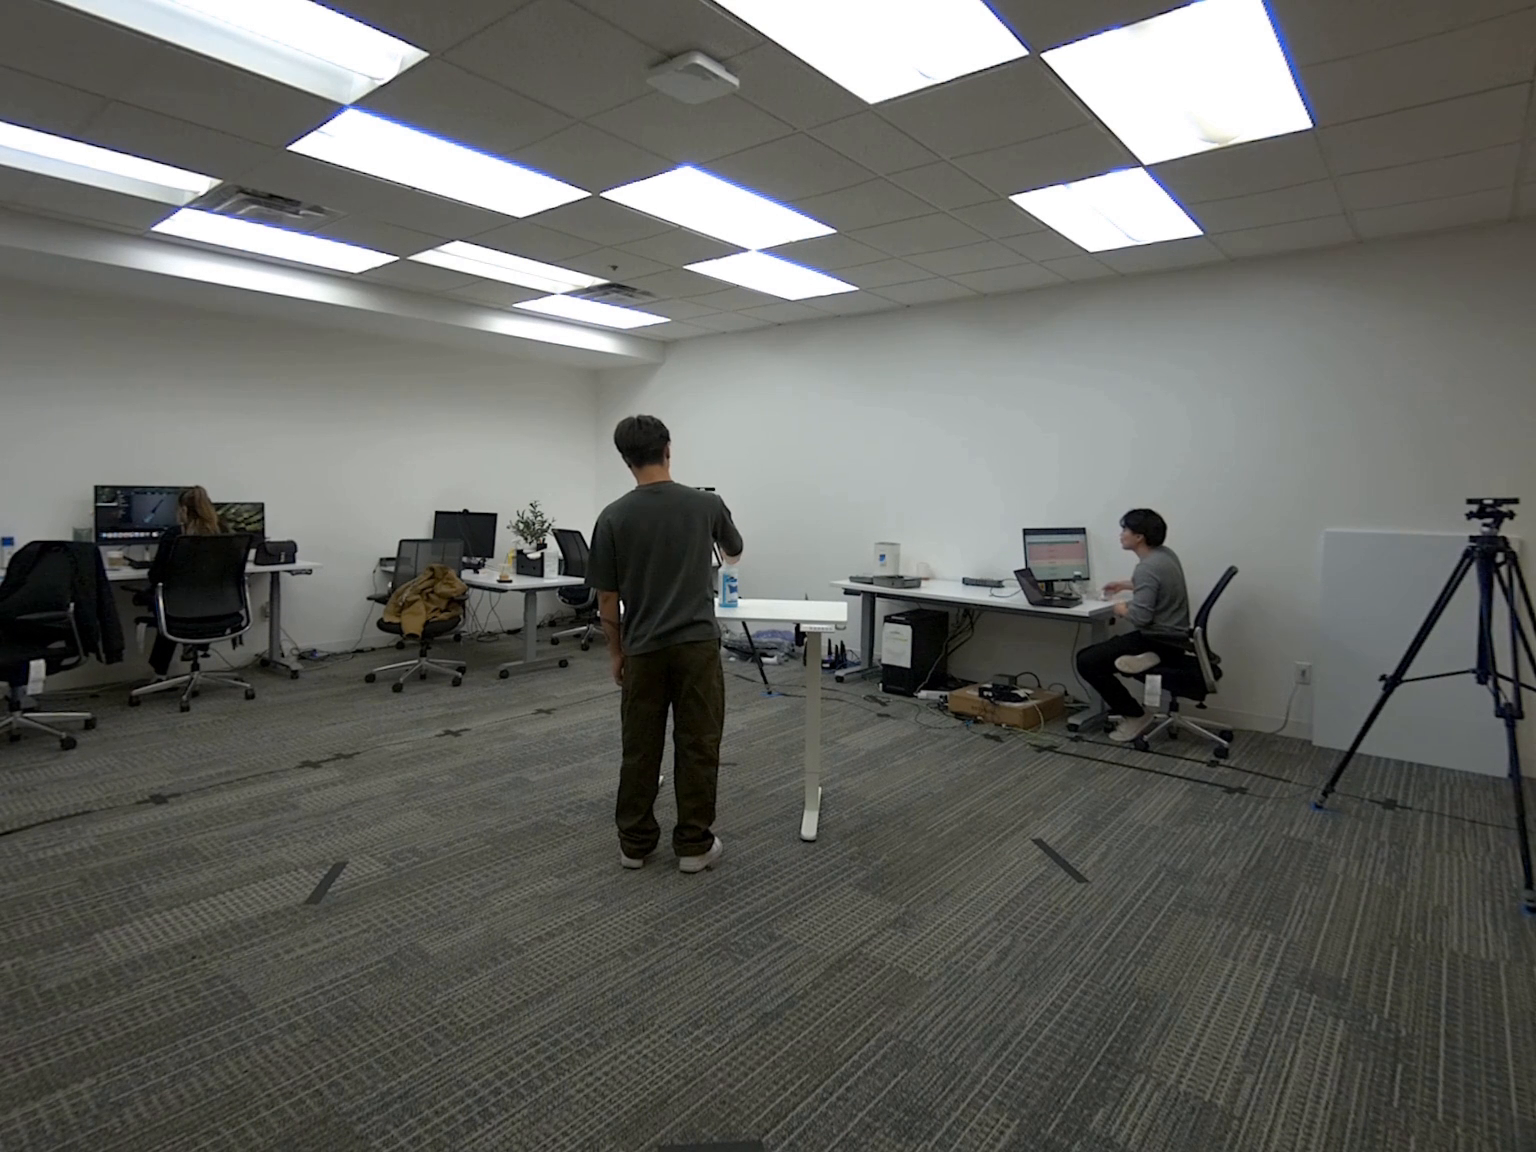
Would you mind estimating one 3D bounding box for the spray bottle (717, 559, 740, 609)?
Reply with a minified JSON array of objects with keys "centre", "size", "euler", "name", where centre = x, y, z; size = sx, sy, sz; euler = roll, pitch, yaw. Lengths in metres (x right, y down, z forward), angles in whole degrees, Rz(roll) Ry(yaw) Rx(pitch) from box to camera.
[{"centre":[-0.187,-0.015,3.693],"size":[0.089,0.297,0.088],"euler":[0,0,22],"name":"spray bottle"}]
